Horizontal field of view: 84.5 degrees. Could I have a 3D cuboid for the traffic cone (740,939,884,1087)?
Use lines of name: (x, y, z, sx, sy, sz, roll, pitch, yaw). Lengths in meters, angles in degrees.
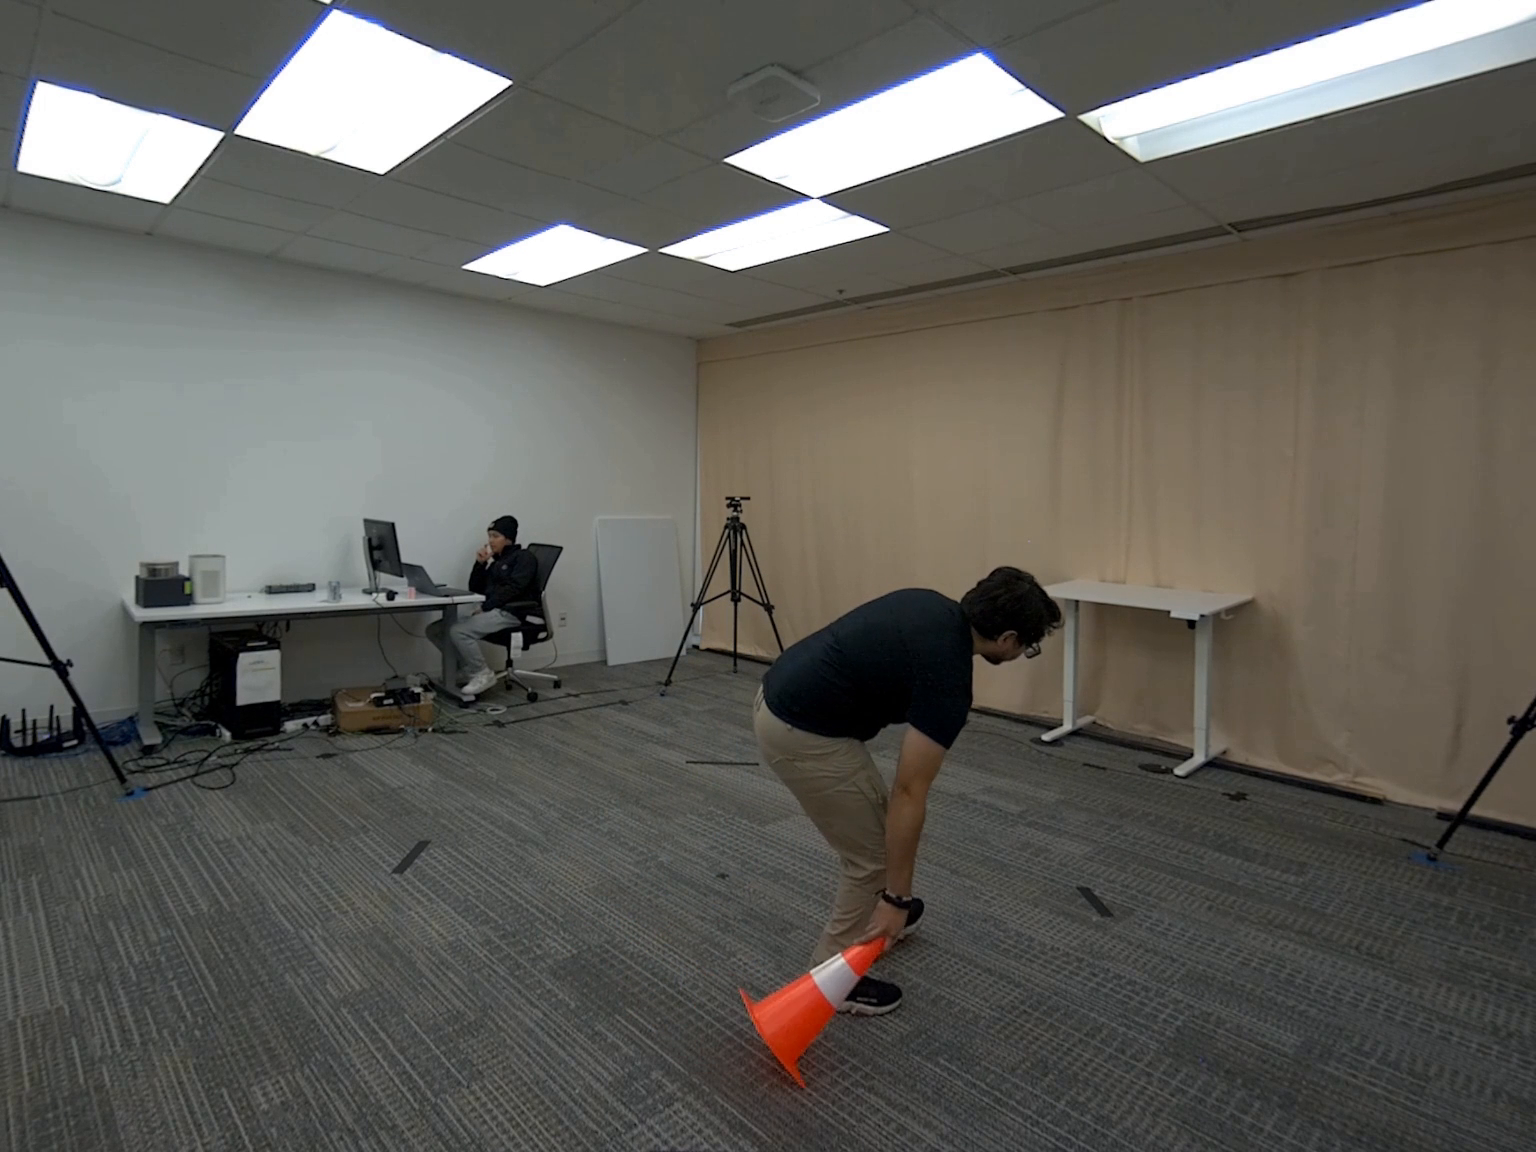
traffic cone: (0.143, 1.013, 2.083, 0.383, 0.202, 0.206, -38, 12, -6)
